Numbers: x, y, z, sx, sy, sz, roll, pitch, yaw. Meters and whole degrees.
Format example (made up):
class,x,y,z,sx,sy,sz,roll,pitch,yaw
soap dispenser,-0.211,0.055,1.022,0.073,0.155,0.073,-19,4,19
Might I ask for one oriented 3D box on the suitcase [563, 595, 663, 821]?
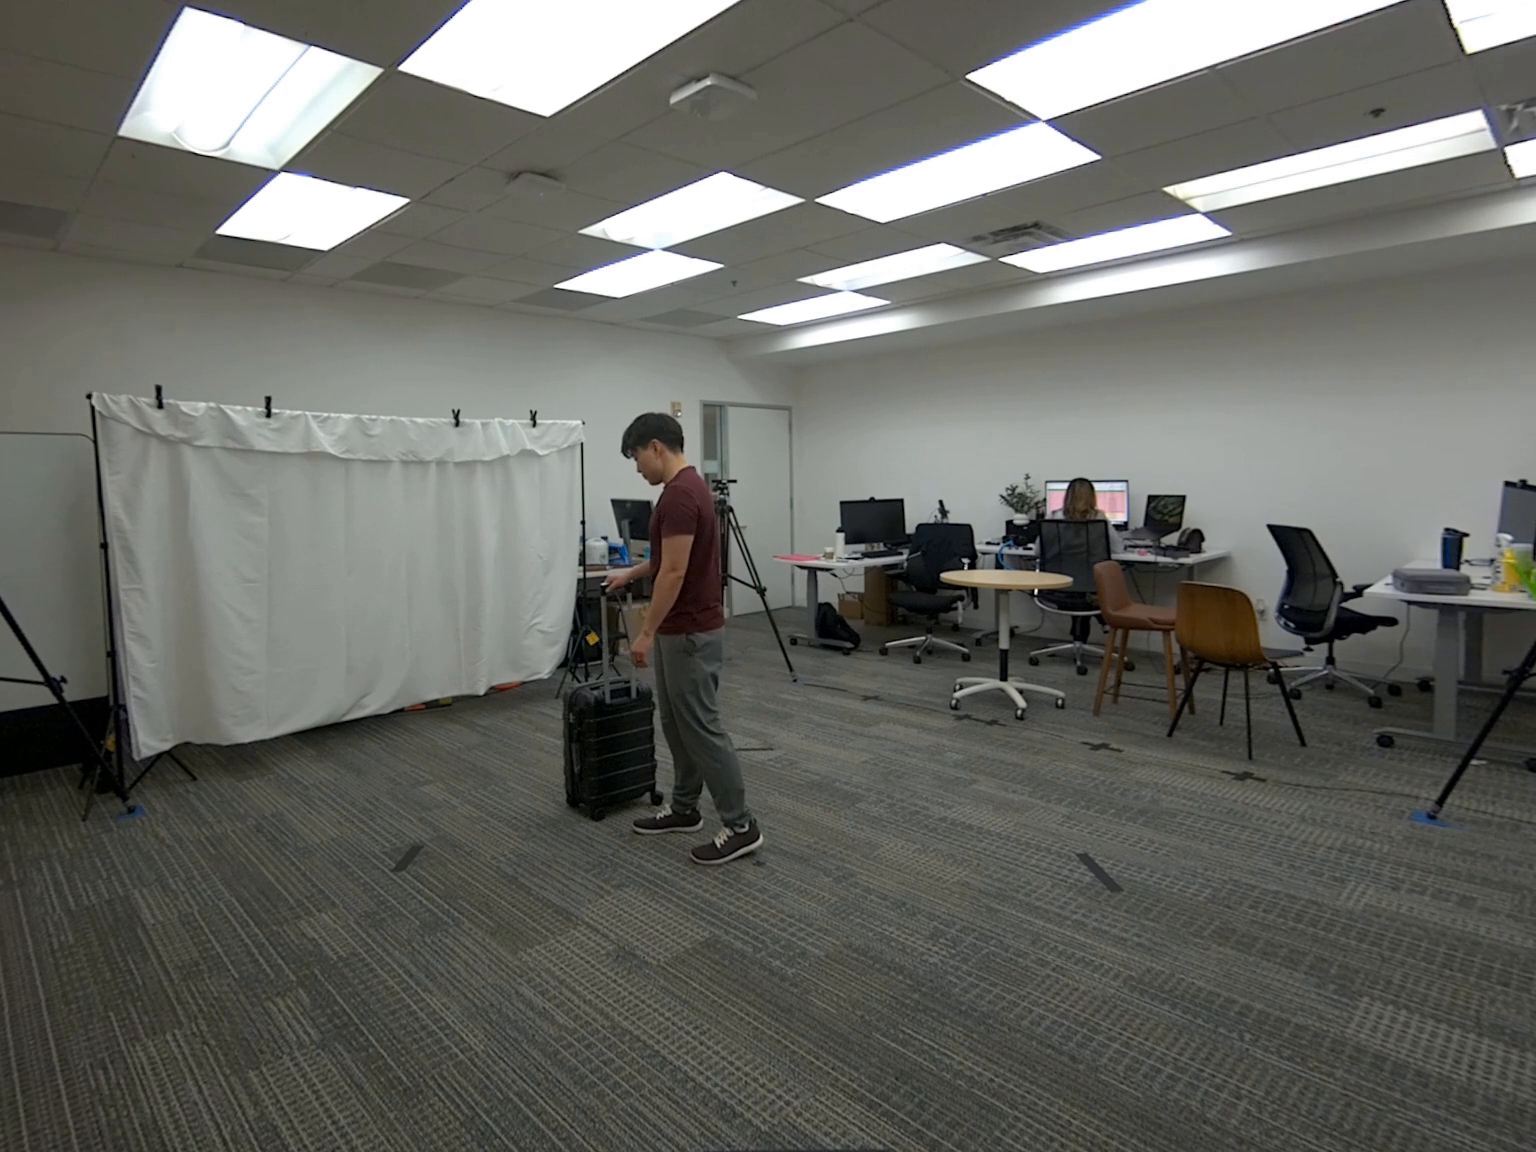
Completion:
class,x,y,z,sx,sy,sz,roll,pitch,yaw
suitcase,-0.699,0.520,3.687,0.374,0.975,0.264,-5,4,-35
